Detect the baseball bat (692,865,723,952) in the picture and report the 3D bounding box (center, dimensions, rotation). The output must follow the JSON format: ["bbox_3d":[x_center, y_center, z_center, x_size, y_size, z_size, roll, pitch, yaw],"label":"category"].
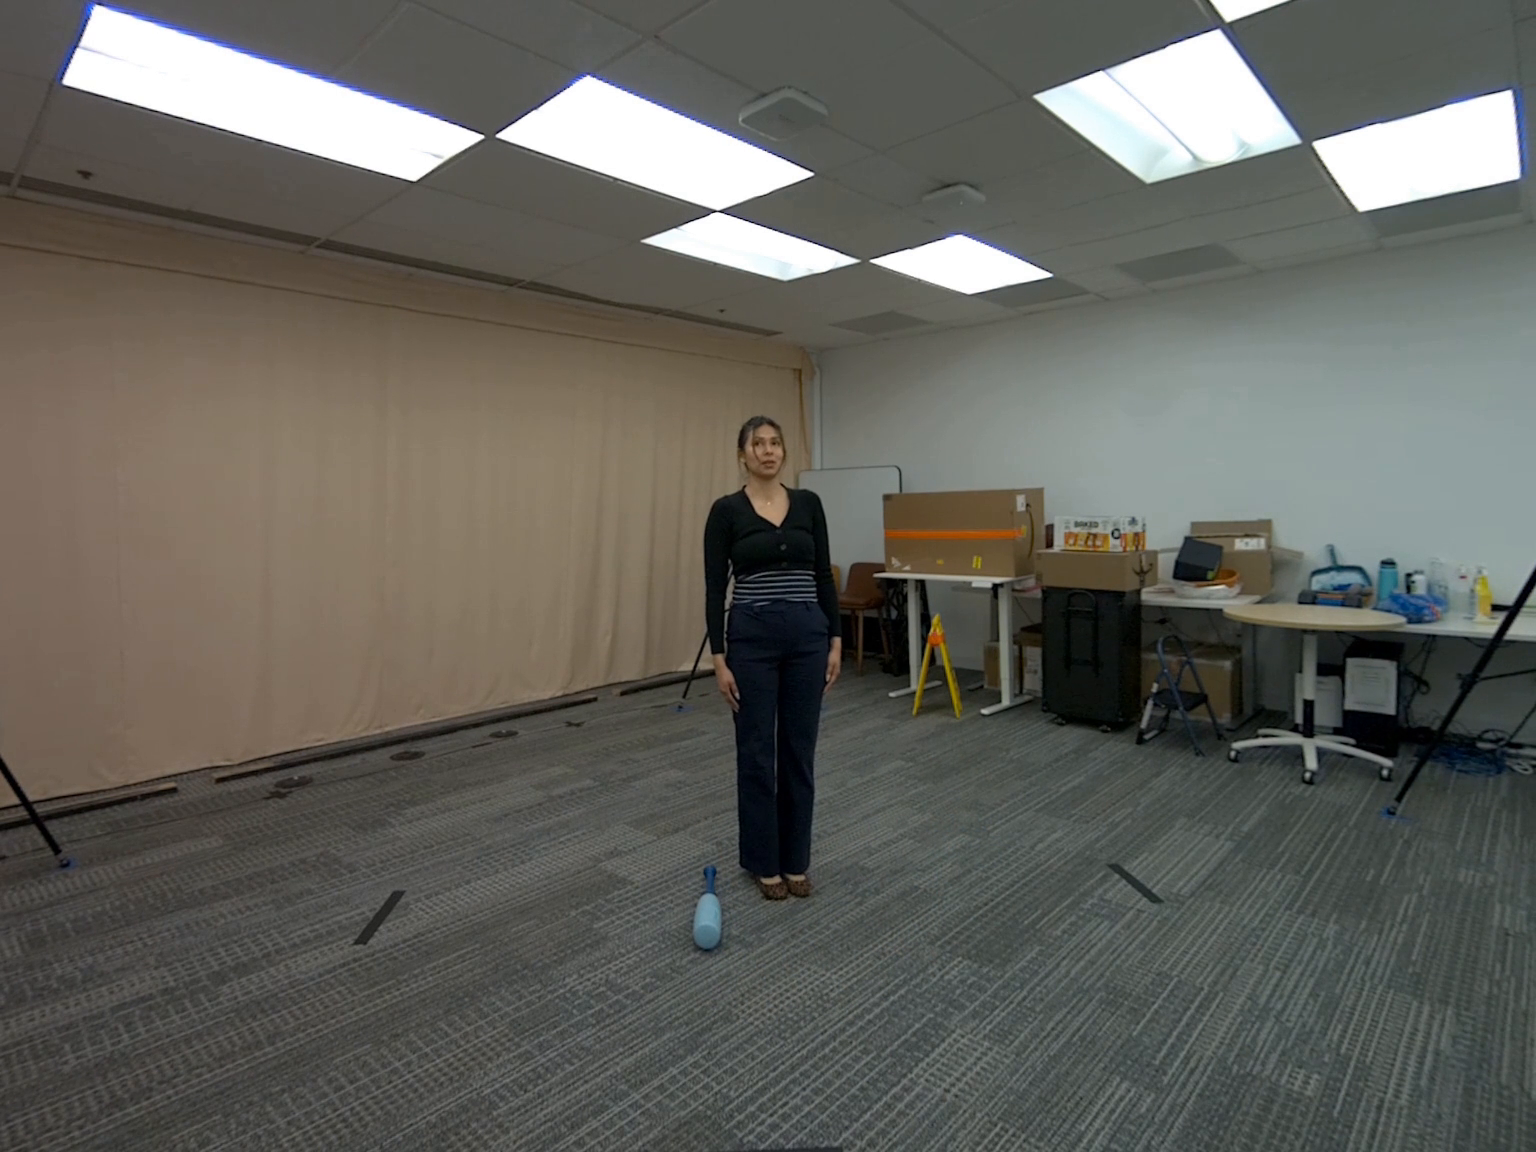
[{"bbox_3d":[-0.206,1.120,2.879,0.089,0.089,0.545,-1,1,-5],"label":"baseball bat"}]
